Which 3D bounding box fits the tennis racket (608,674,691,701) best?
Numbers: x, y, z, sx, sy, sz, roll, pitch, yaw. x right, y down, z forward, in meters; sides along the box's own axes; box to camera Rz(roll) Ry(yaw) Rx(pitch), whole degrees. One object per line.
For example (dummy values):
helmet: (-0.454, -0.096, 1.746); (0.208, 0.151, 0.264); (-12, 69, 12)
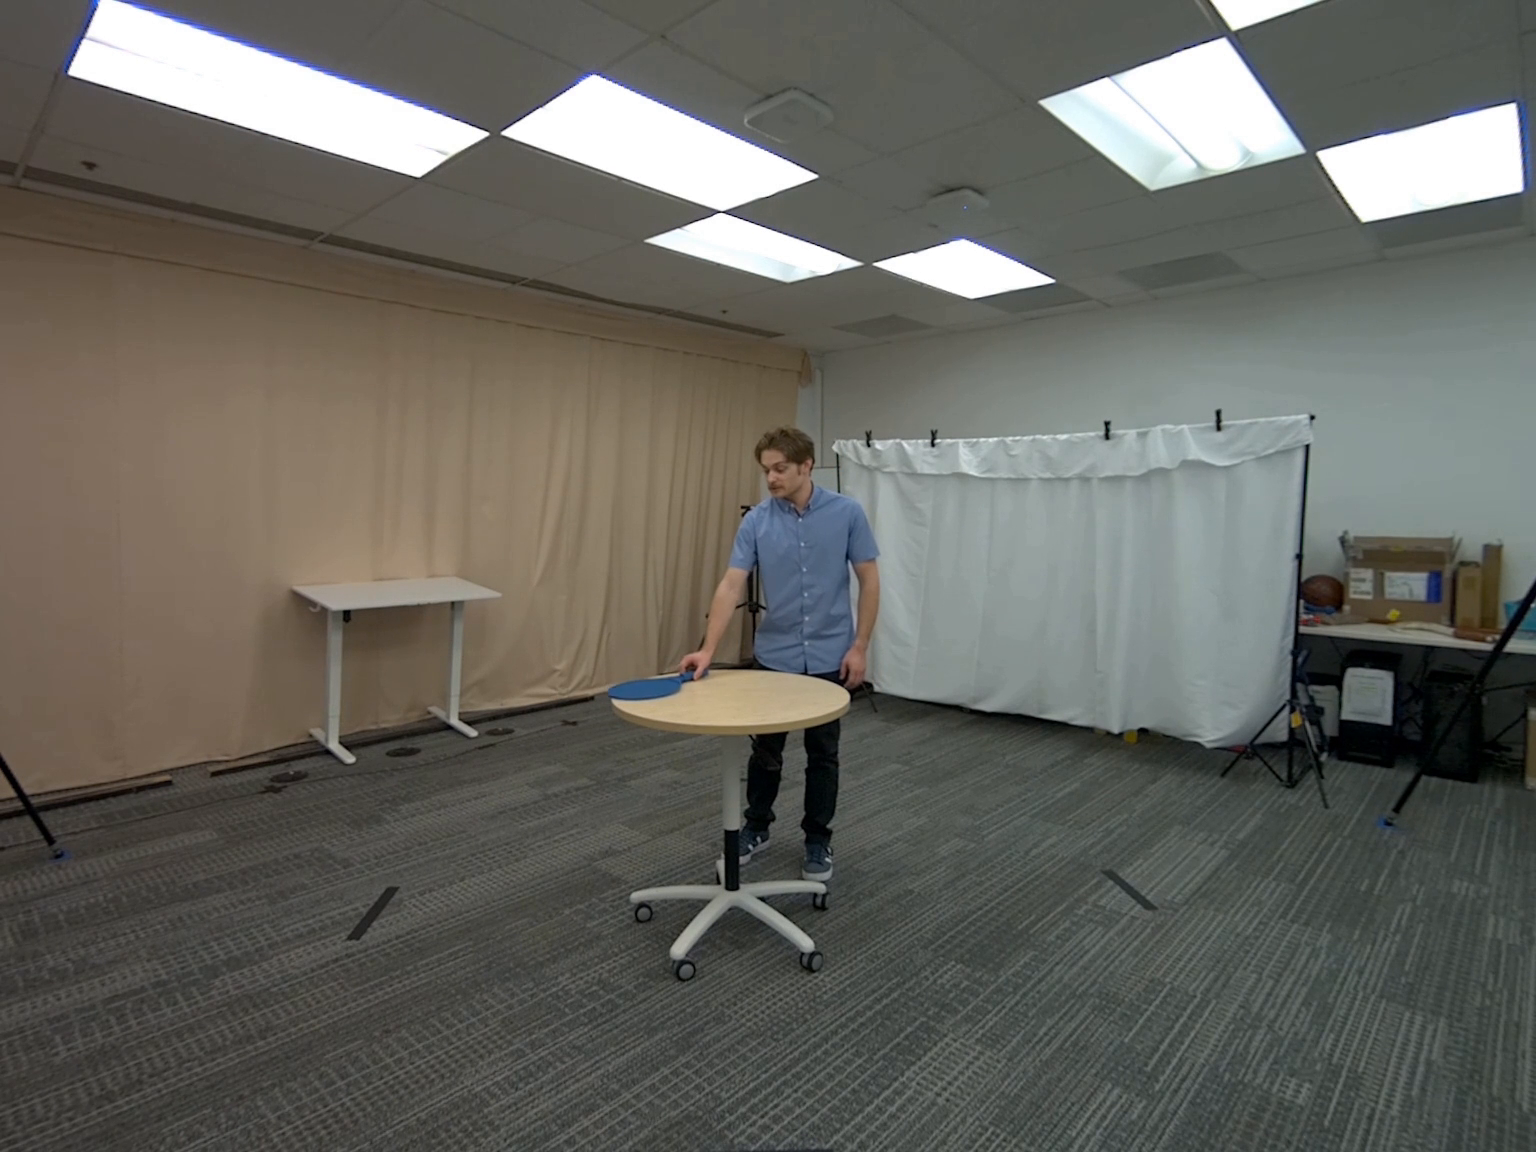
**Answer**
tennis racket: (-0.364, 0.366, 2.829); (0.221, 0.031, 0.420); (5, 9, 36)
